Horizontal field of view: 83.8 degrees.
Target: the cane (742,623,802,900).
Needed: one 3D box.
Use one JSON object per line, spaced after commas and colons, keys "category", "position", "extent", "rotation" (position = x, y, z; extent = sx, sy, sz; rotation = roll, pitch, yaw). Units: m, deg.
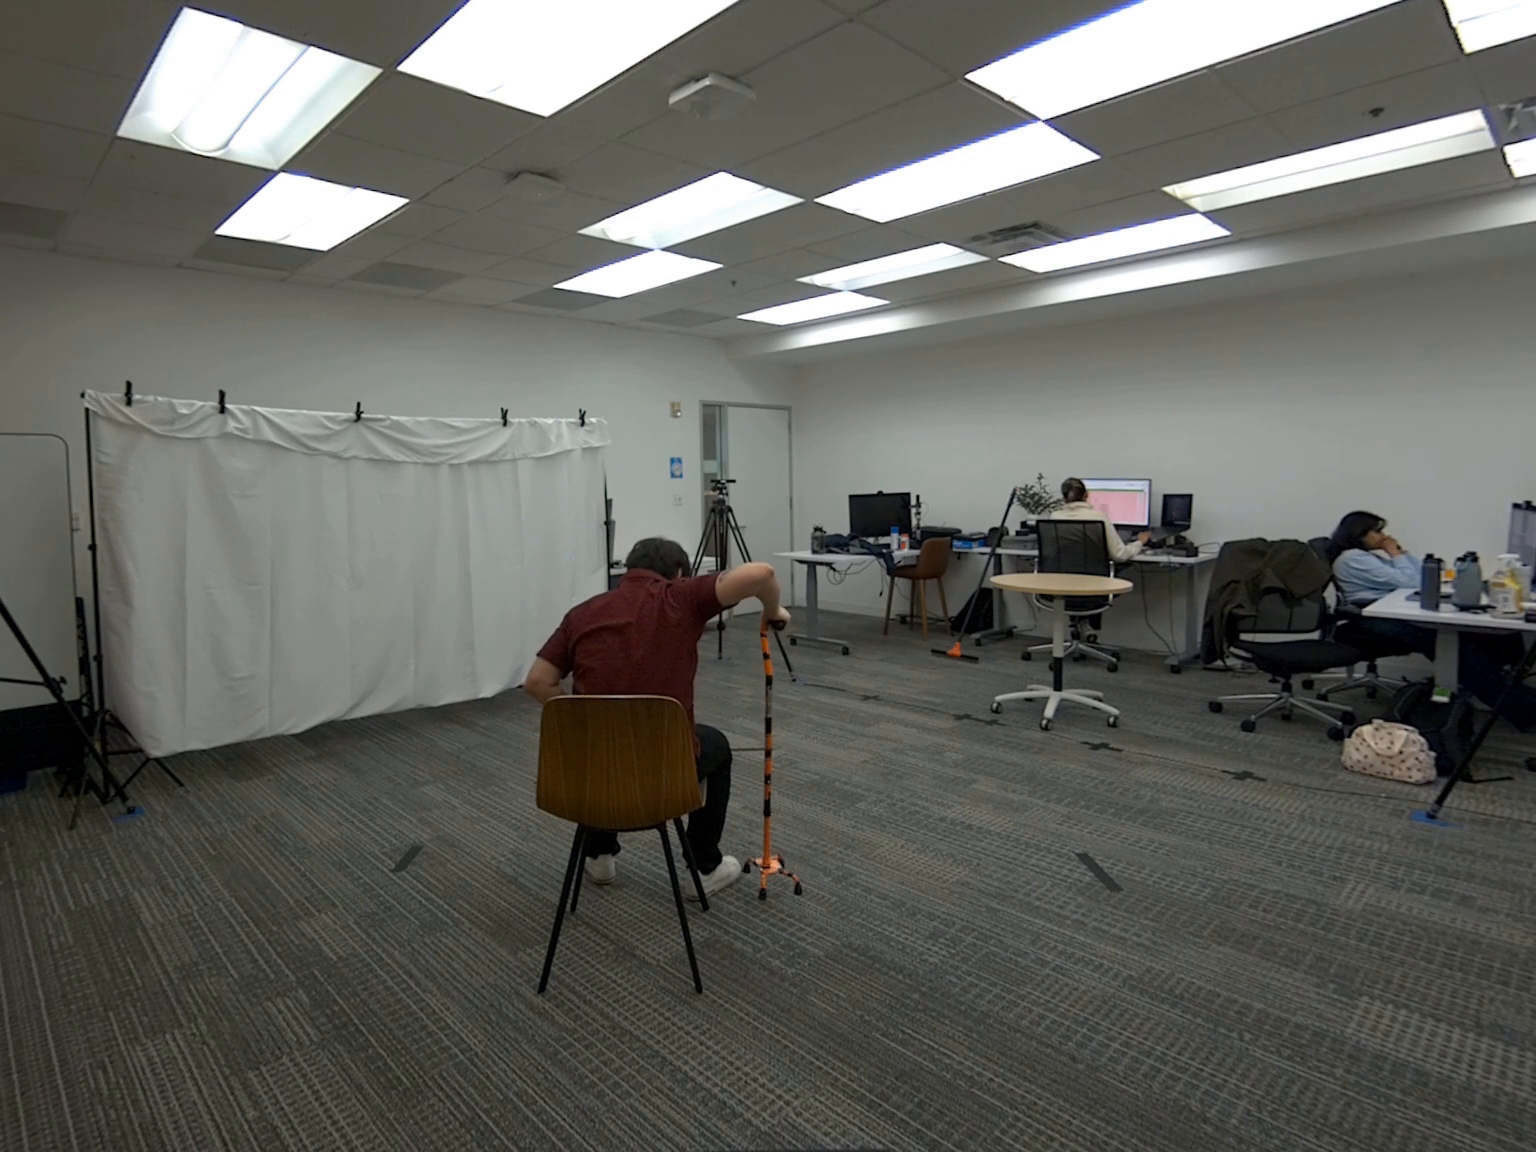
{"category": "cane", "position": [0.020, 0.569, 2.804], "extent": [0.148, 0.904, 0.211], "rotation": [-1, 5, -23]}
